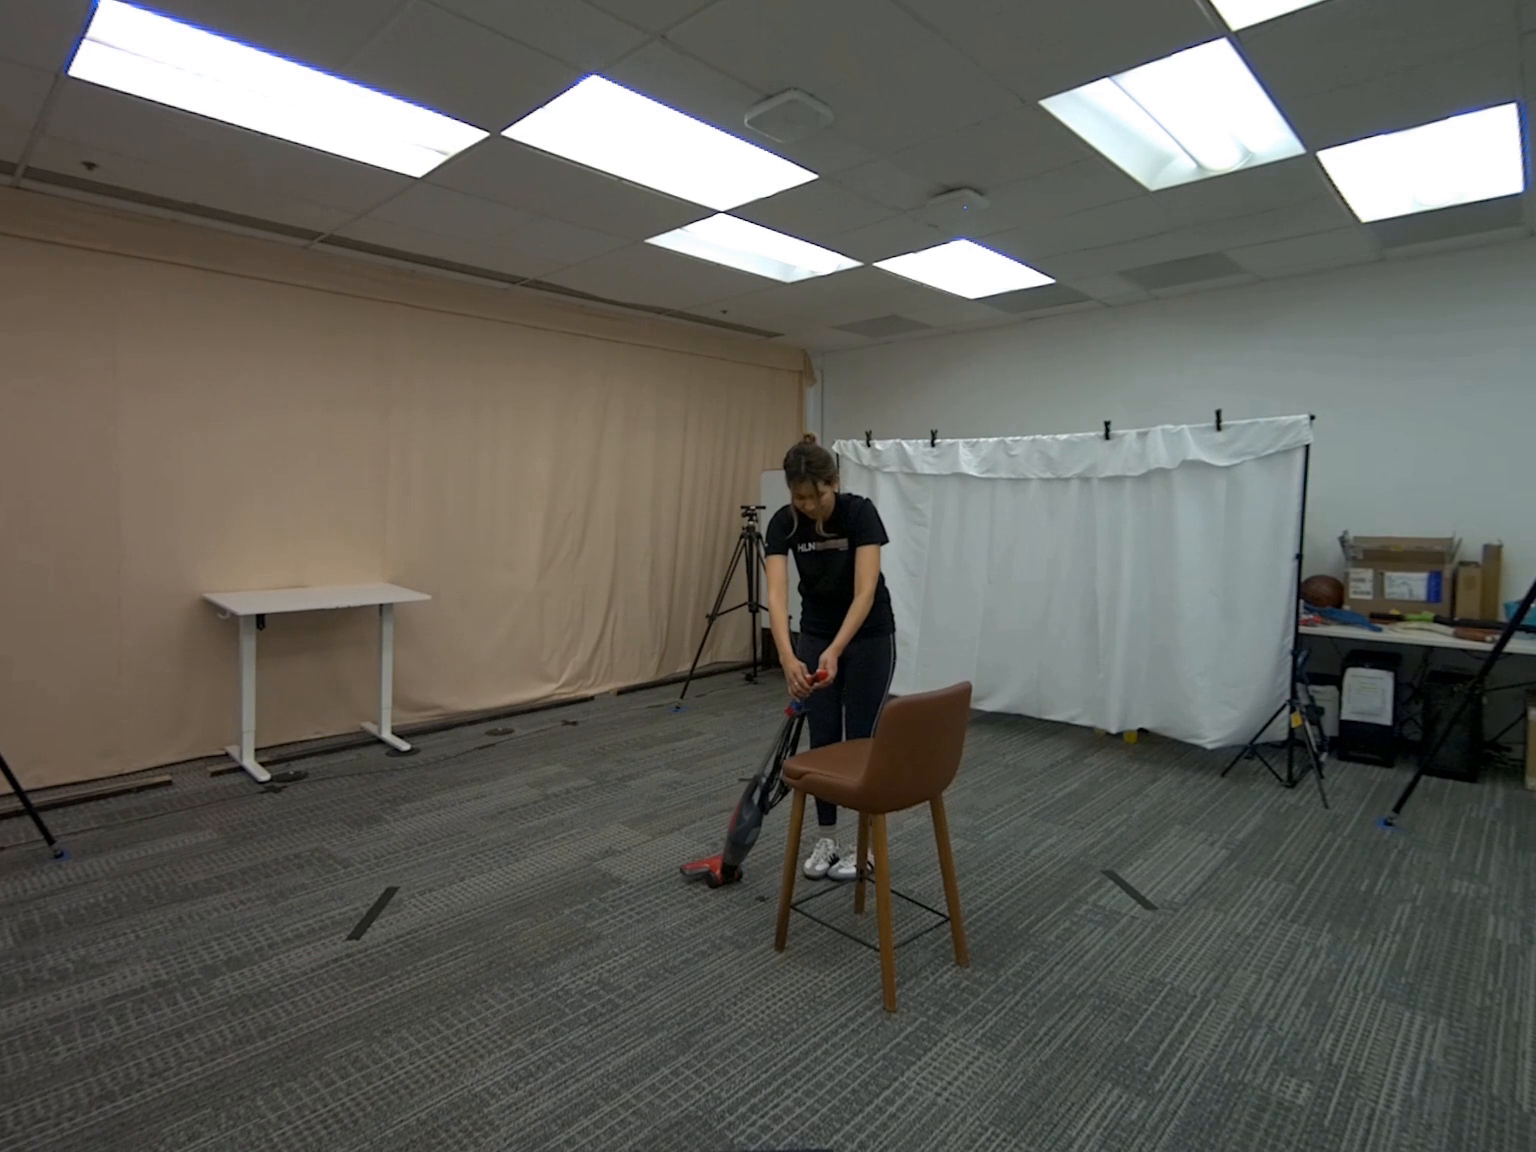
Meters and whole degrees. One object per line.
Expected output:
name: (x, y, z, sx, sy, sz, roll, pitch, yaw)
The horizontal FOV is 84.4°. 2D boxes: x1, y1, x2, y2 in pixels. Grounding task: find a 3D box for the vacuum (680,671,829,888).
vacuum: (-0.011, 0.709, 2.873, 0.245, 1.046, 0.149, -8, 45, -42)
